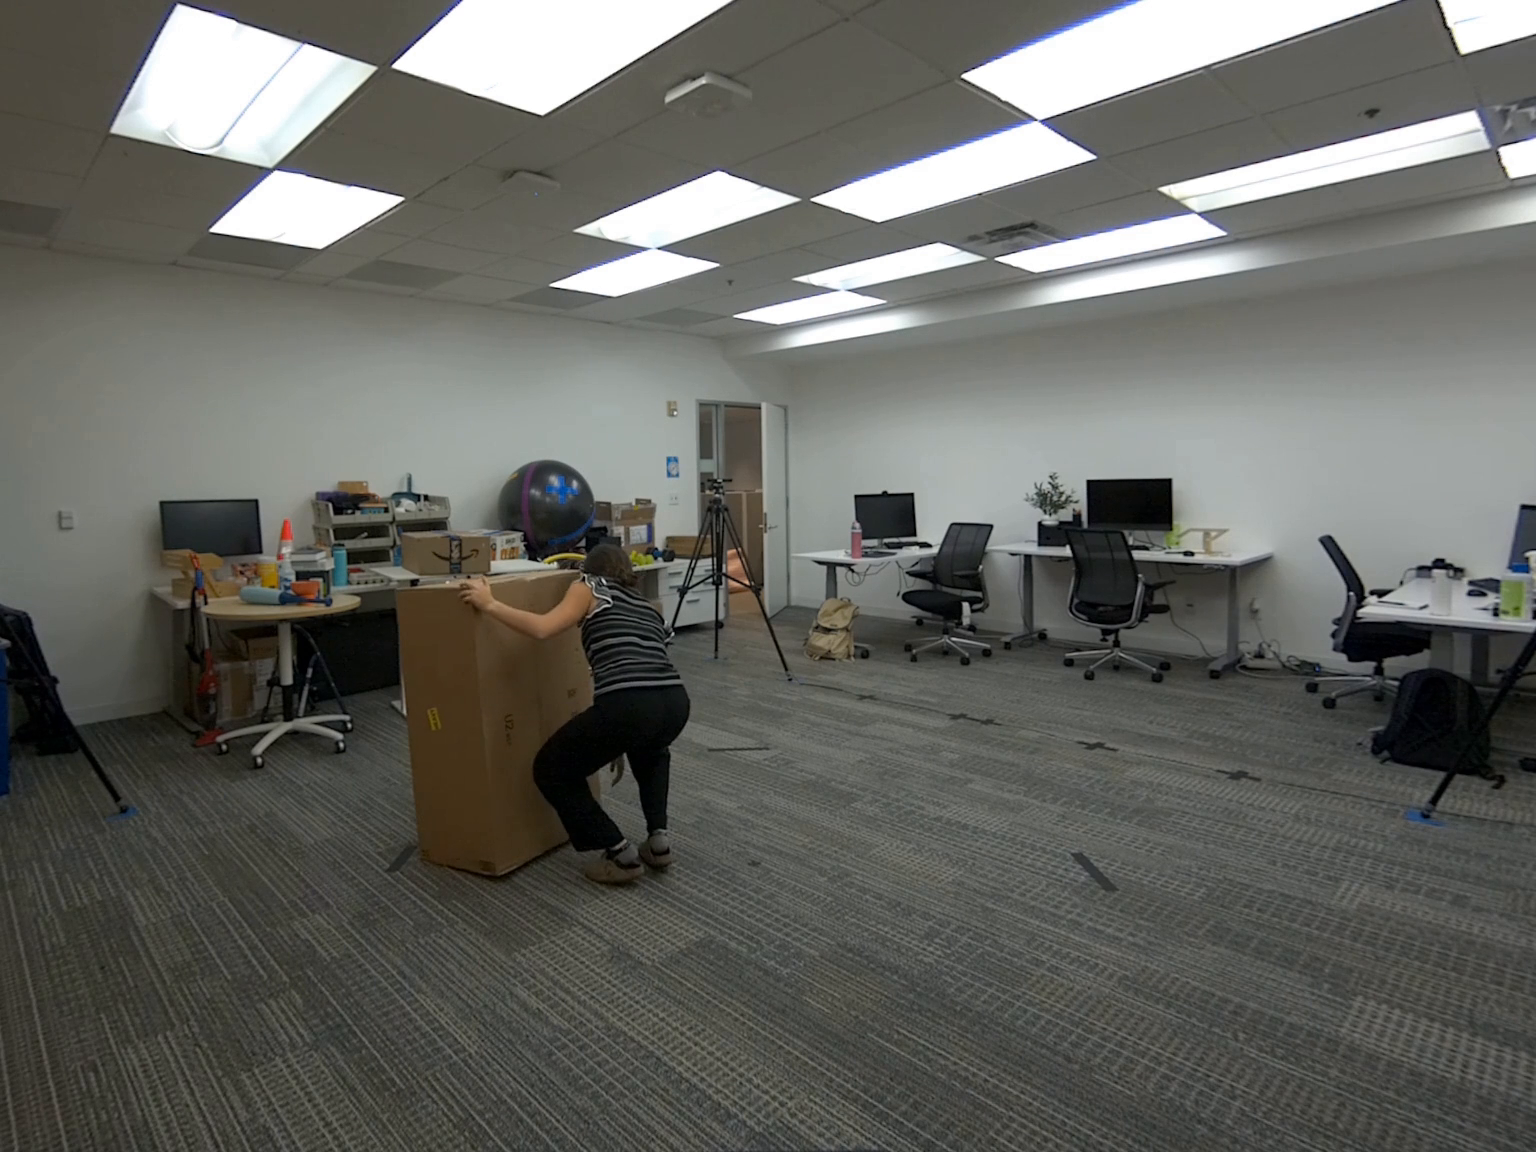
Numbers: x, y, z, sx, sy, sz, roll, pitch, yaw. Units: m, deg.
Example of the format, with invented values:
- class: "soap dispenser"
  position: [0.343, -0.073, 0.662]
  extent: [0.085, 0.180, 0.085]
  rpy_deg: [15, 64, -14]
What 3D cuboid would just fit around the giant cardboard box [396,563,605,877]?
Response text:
- class: "giant cardboard box"
  position: [-1.030, 0.519, 3.324]
  extent: [0.437, 1.024, 0.565]
  rpy_deg: [-3, 3, 31]
